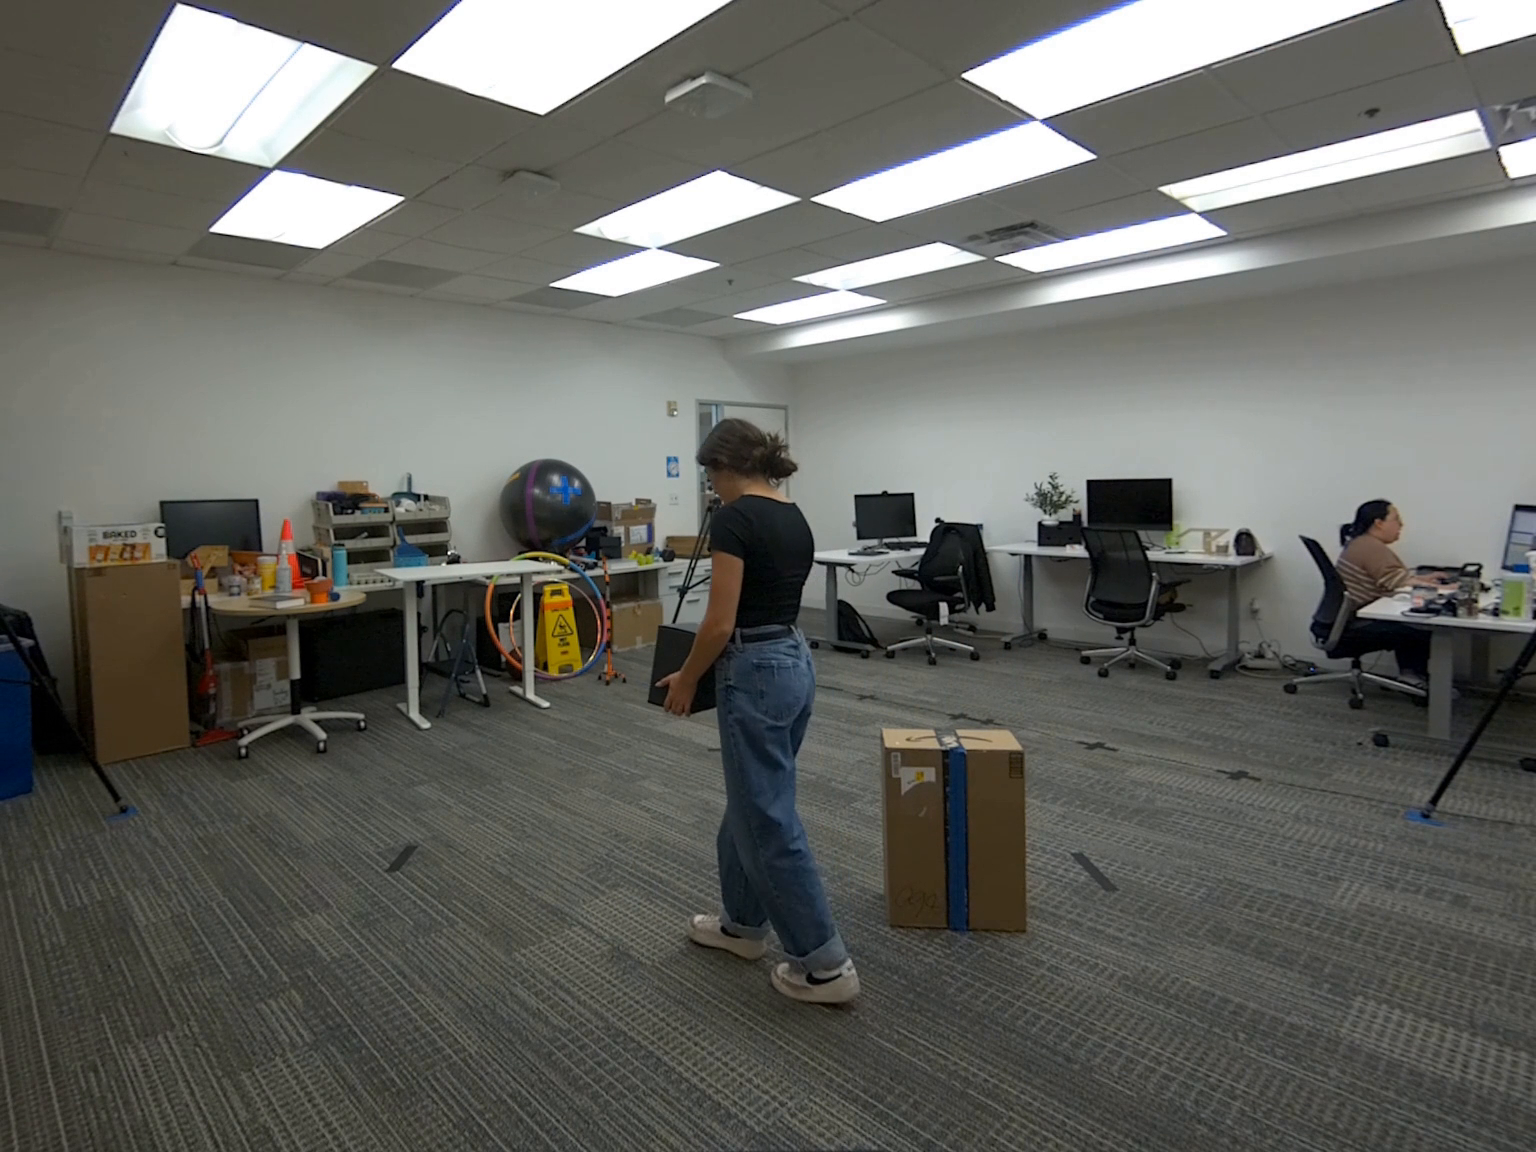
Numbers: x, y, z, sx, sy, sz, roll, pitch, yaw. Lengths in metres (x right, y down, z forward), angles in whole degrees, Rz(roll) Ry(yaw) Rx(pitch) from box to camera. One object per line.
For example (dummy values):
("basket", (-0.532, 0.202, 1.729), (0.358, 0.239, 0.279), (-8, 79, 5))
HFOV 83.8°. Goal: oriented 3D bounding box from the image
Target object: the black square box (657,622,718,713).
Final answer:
("black square box", (-0.200, 0.261, 2.519), (0.159, 0.228, 0.212), (2, 0, 24))
